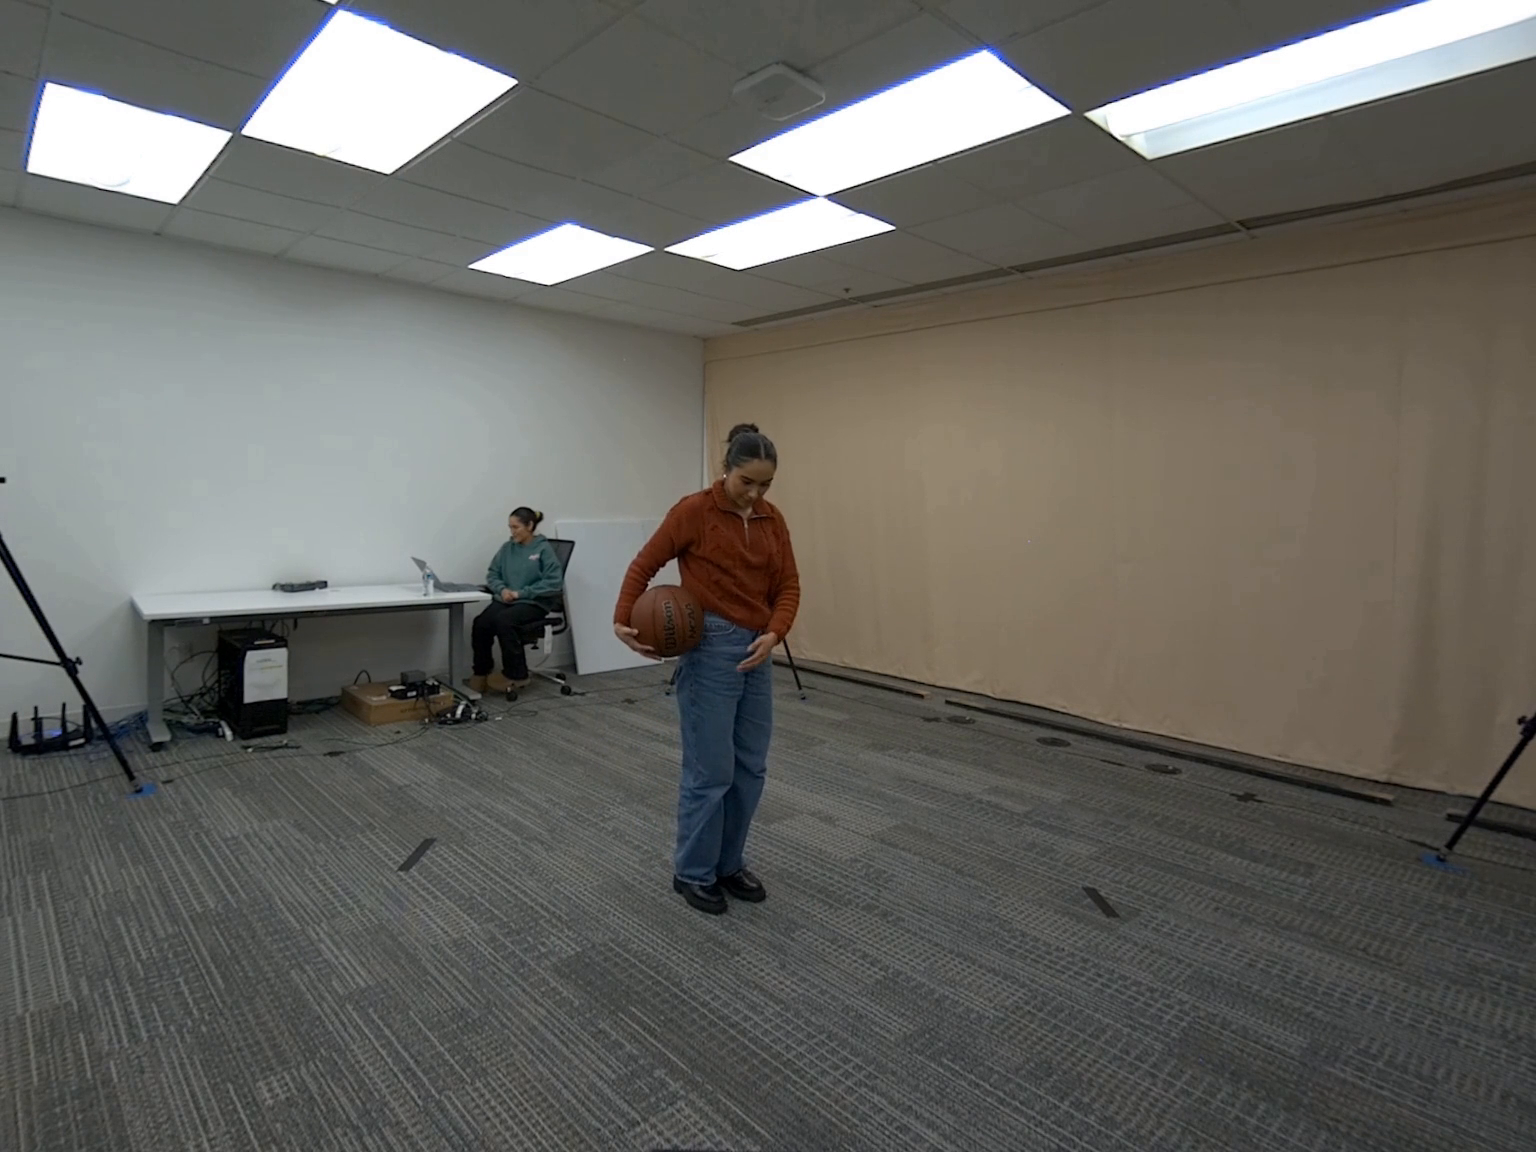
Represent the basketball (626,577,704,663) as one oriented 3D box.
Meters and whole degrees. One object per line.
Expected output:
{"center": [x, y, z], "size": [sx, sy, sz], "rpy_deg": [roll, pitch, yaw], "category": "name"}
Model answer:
{"center": [-0.320, 0.134, 2.704], "size": [0.236, 0.235, 0.237], "rpy_deg": [1, 4, -1], "category": "basketball"}
